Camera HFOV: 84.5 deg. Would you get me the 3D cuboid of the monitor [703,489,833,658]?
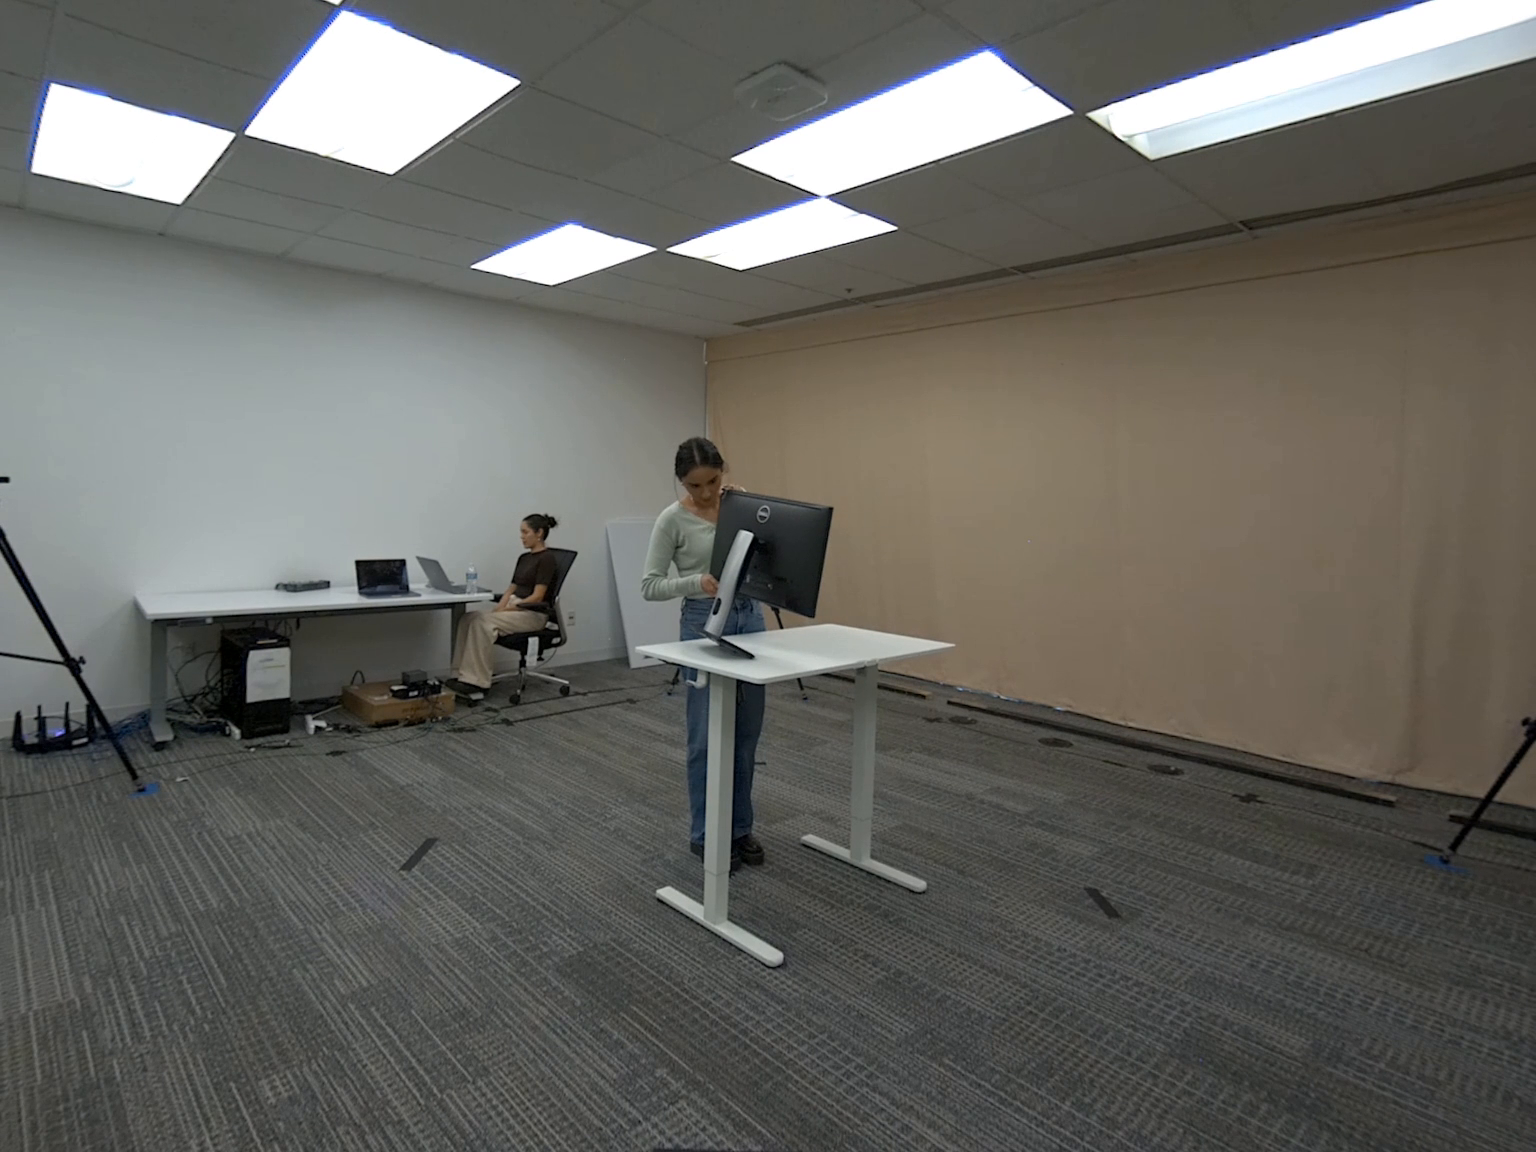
[{"bbox_3d":[-0.074,-0.014,2.769,0.181,0.524,0.554,25,-7,-42],"label":"monitor"}]
